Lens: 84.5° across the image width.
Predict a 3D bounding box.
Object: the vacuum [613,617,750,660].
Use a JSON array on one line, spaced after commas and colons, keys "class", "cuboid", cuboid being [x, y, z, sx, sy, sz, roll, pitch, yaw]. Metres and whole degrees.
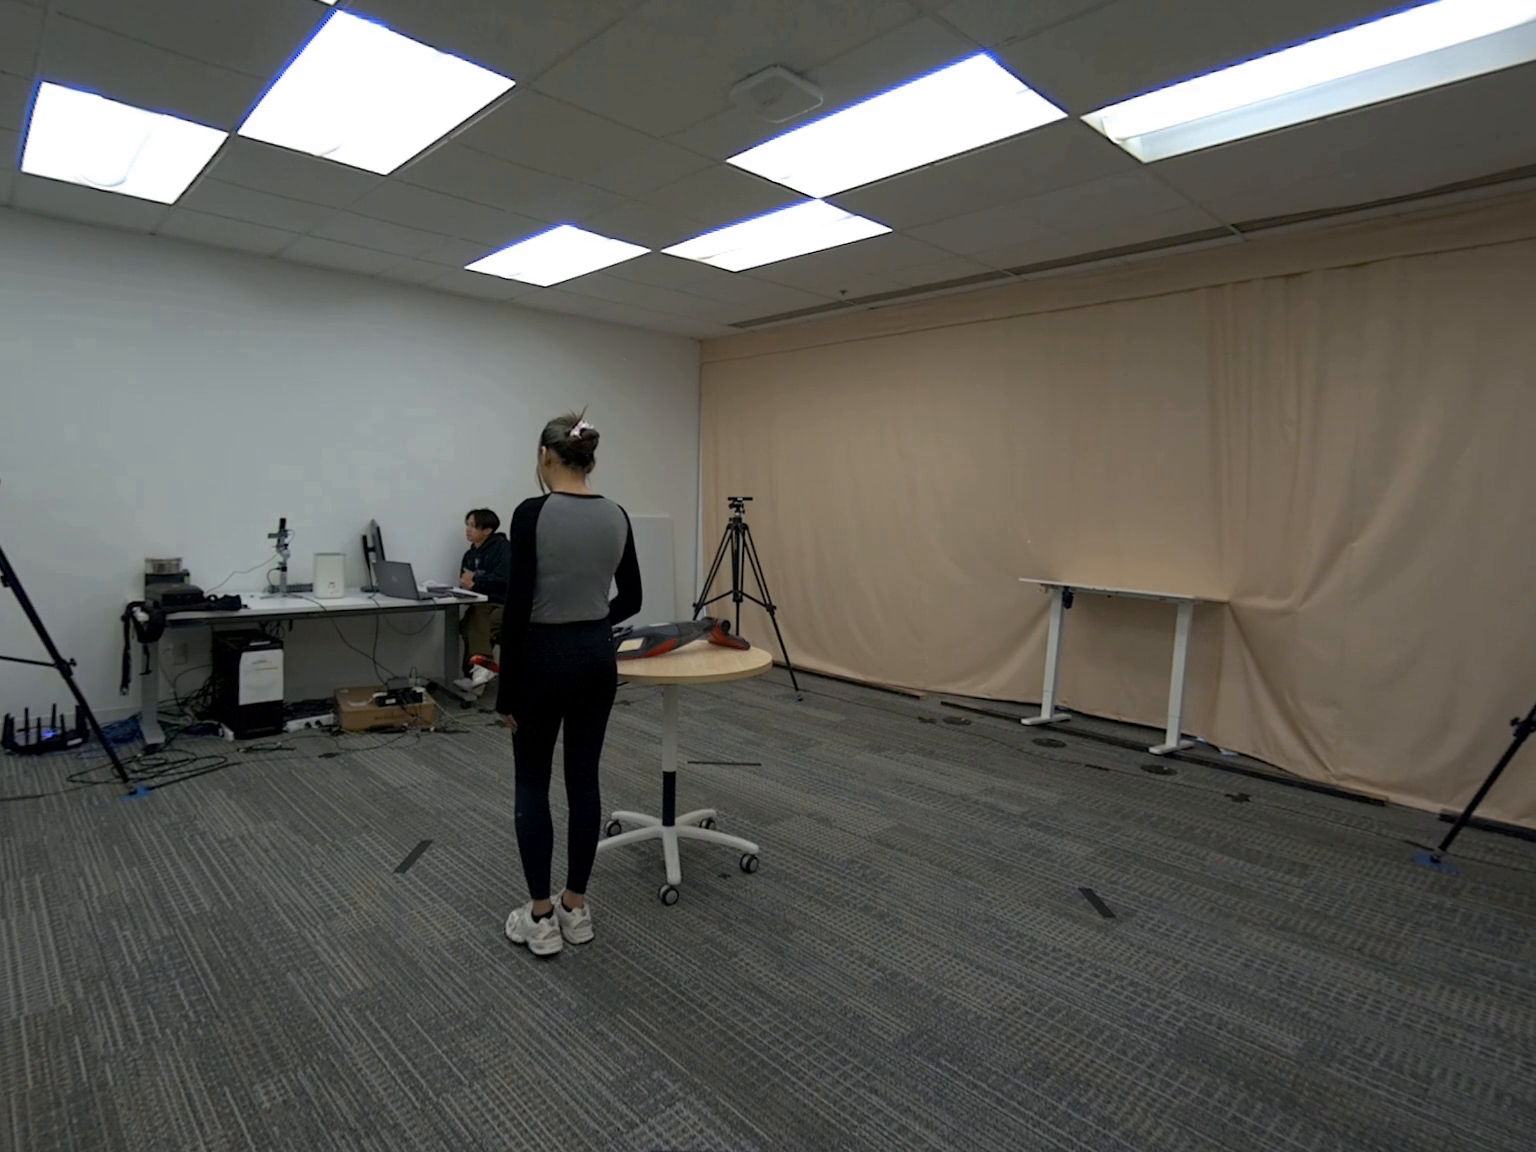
[{"class": "vacuum", "cuboid": [-0.570, 0.255, 3.070, 1.026, 0.143, 0.259, -3, 5, -41]}]
